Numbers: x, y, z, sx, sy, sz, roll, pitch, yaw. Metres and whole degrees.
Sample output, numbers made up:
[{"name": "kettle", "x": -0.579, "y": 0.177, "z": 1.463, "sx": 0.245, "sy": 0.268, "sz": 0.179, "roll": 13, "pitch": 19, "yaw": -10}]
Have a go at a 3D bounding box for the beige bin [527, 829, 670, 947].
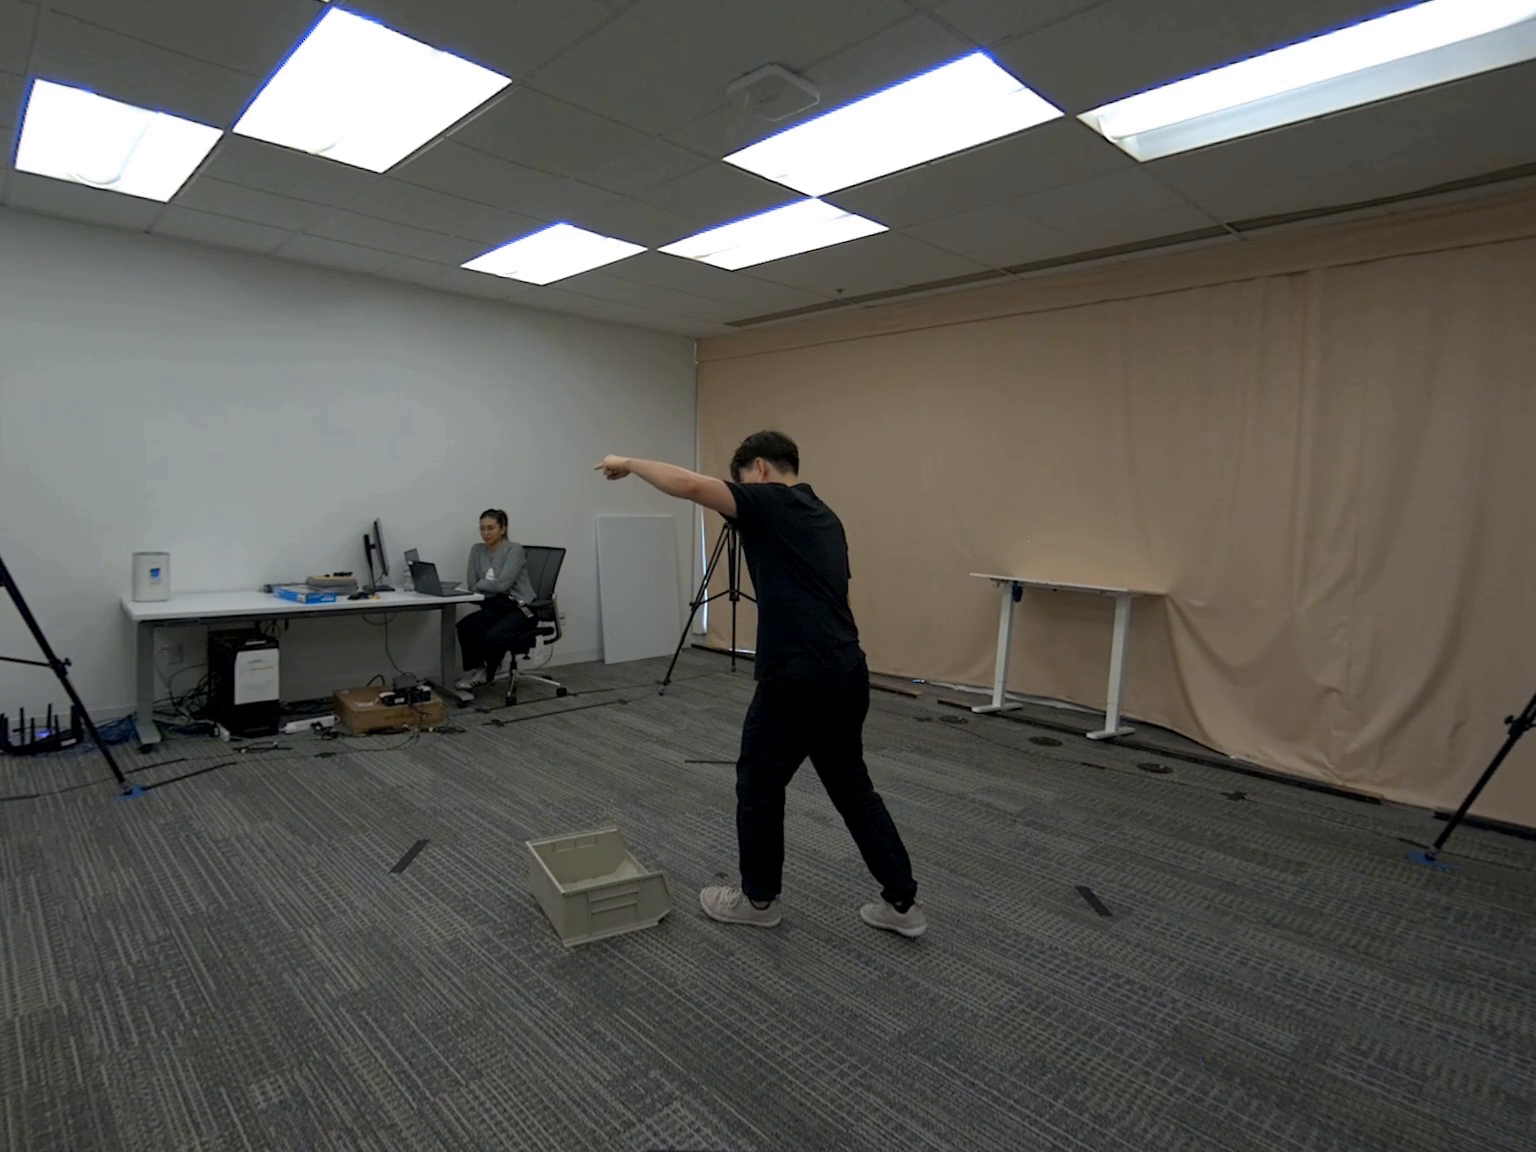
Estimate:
[{"name": "beige bin", "x": -0.584, "y": 1.034, "z": 2.835, "sx": 0.370, "sy": 0.188, "sz": 0.432, "roll": -2, "pitch": 7, "yaw": -30}]
